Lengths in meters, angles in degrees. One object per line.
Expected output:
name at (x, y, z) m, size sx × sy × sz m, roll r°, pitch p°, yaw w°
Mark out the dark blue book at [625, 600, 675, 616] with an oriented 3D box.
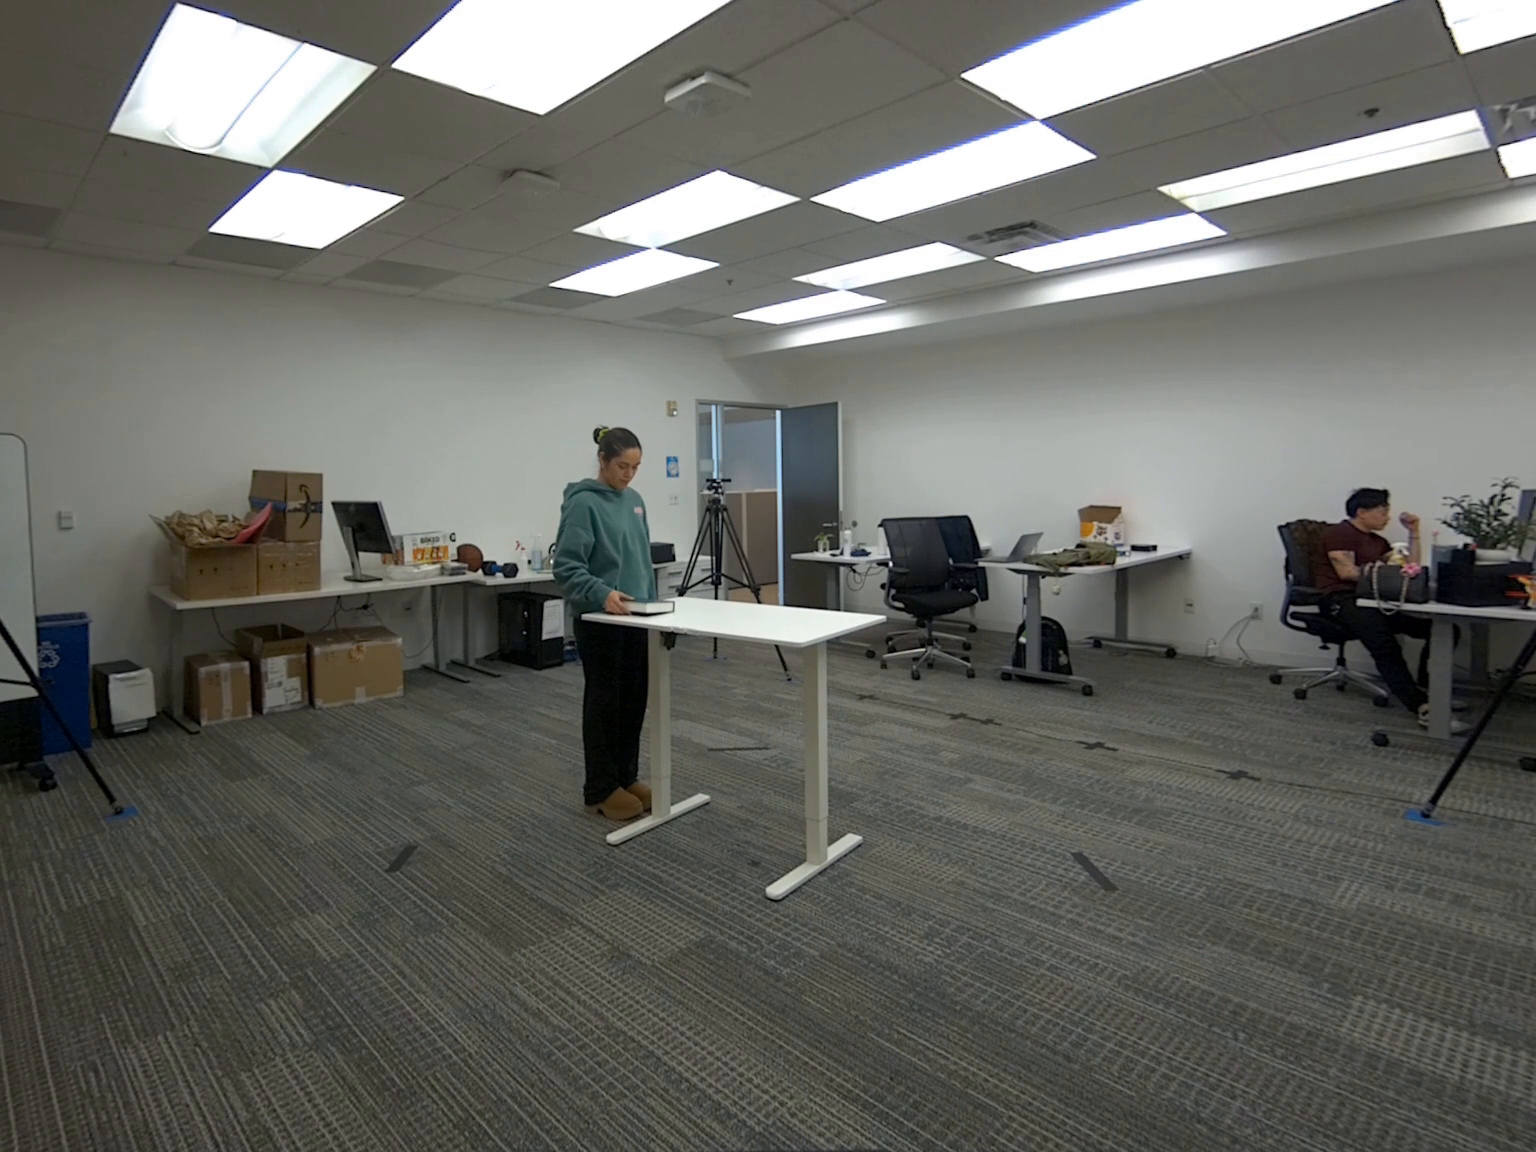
dark blue book at (-0.506, 0.116, 3.359) m, size 0.252 × 0.045 × 0.159 m, roll 3°, pitch 2°, yaw 38°
